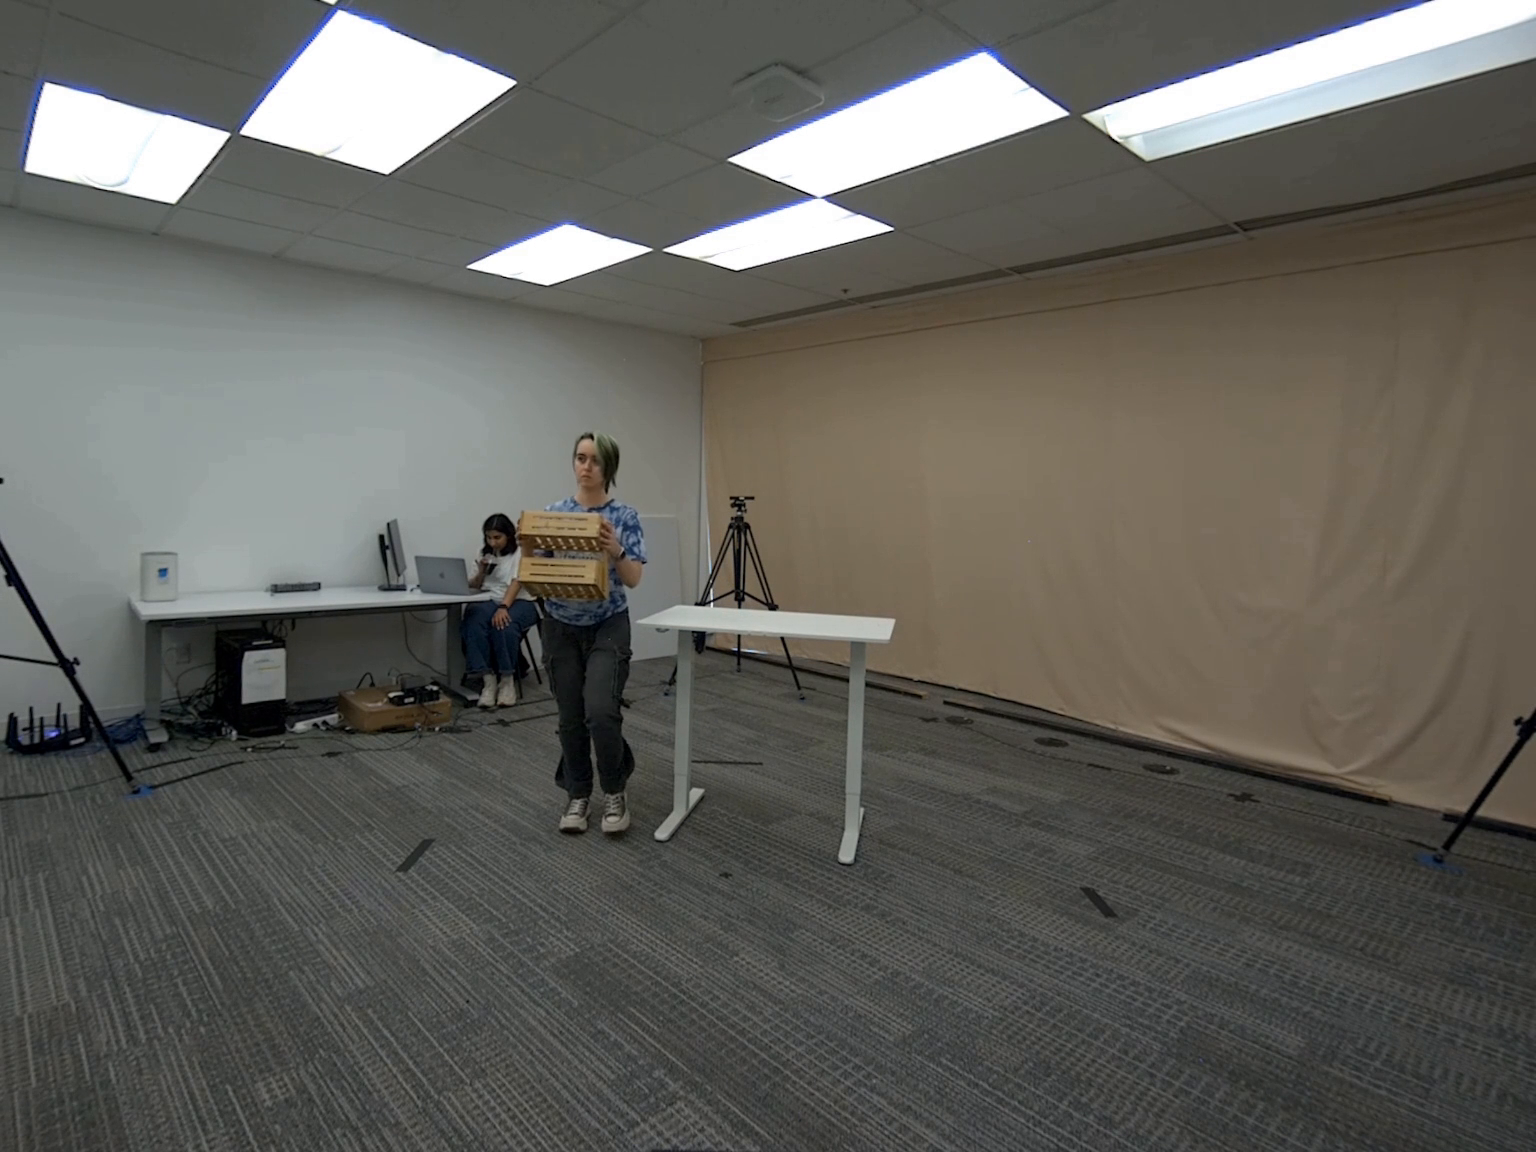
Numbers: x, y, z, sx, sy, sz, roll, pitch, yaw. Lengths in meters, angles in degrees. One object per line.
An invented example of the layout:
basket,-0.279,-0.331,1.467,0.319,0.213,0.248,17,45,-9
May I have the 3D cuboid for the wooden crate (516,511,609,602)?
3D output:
wooden crate,-0.791,-0.071,3.242,0.325,0.276,0.297,3,-17,3
